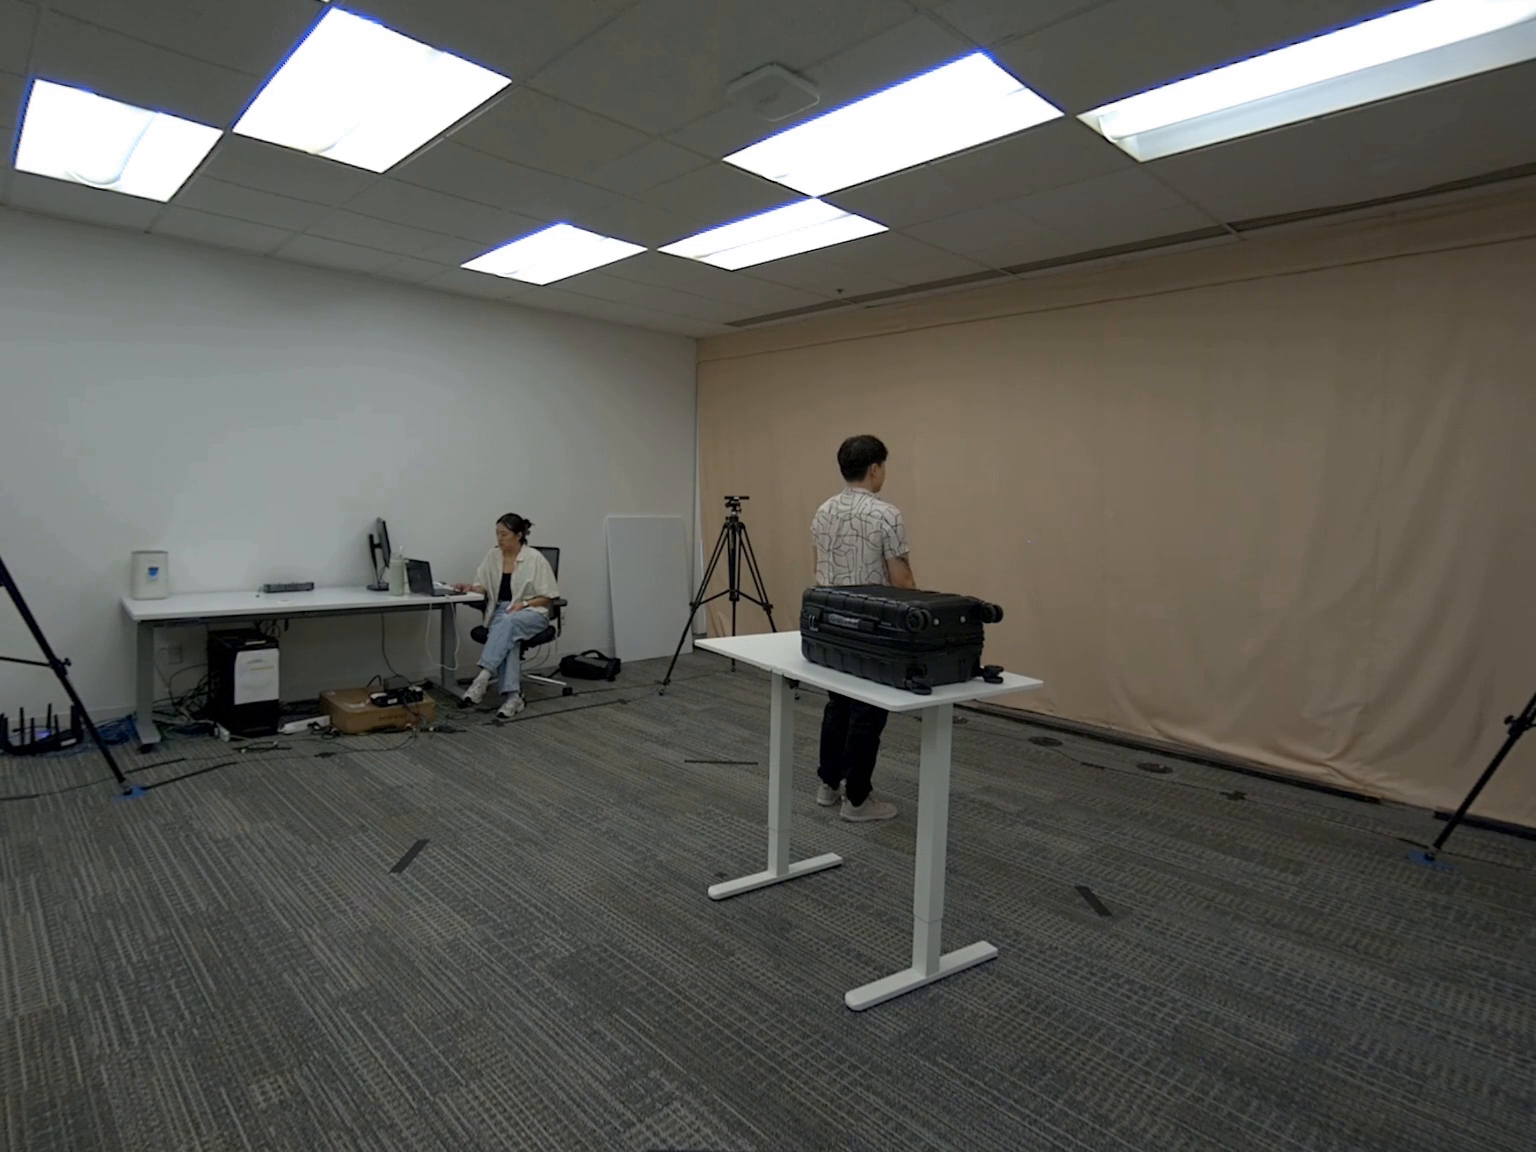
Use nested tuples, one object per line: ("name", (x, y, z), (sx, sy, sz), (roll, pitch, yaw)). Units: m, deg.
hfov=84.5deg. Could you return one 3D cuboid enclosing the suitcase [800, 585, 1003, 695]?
("suitcase", (0.357, 0.173, 2.532), (0.367, 0.247, 0.563), (-3, 7, -37))
